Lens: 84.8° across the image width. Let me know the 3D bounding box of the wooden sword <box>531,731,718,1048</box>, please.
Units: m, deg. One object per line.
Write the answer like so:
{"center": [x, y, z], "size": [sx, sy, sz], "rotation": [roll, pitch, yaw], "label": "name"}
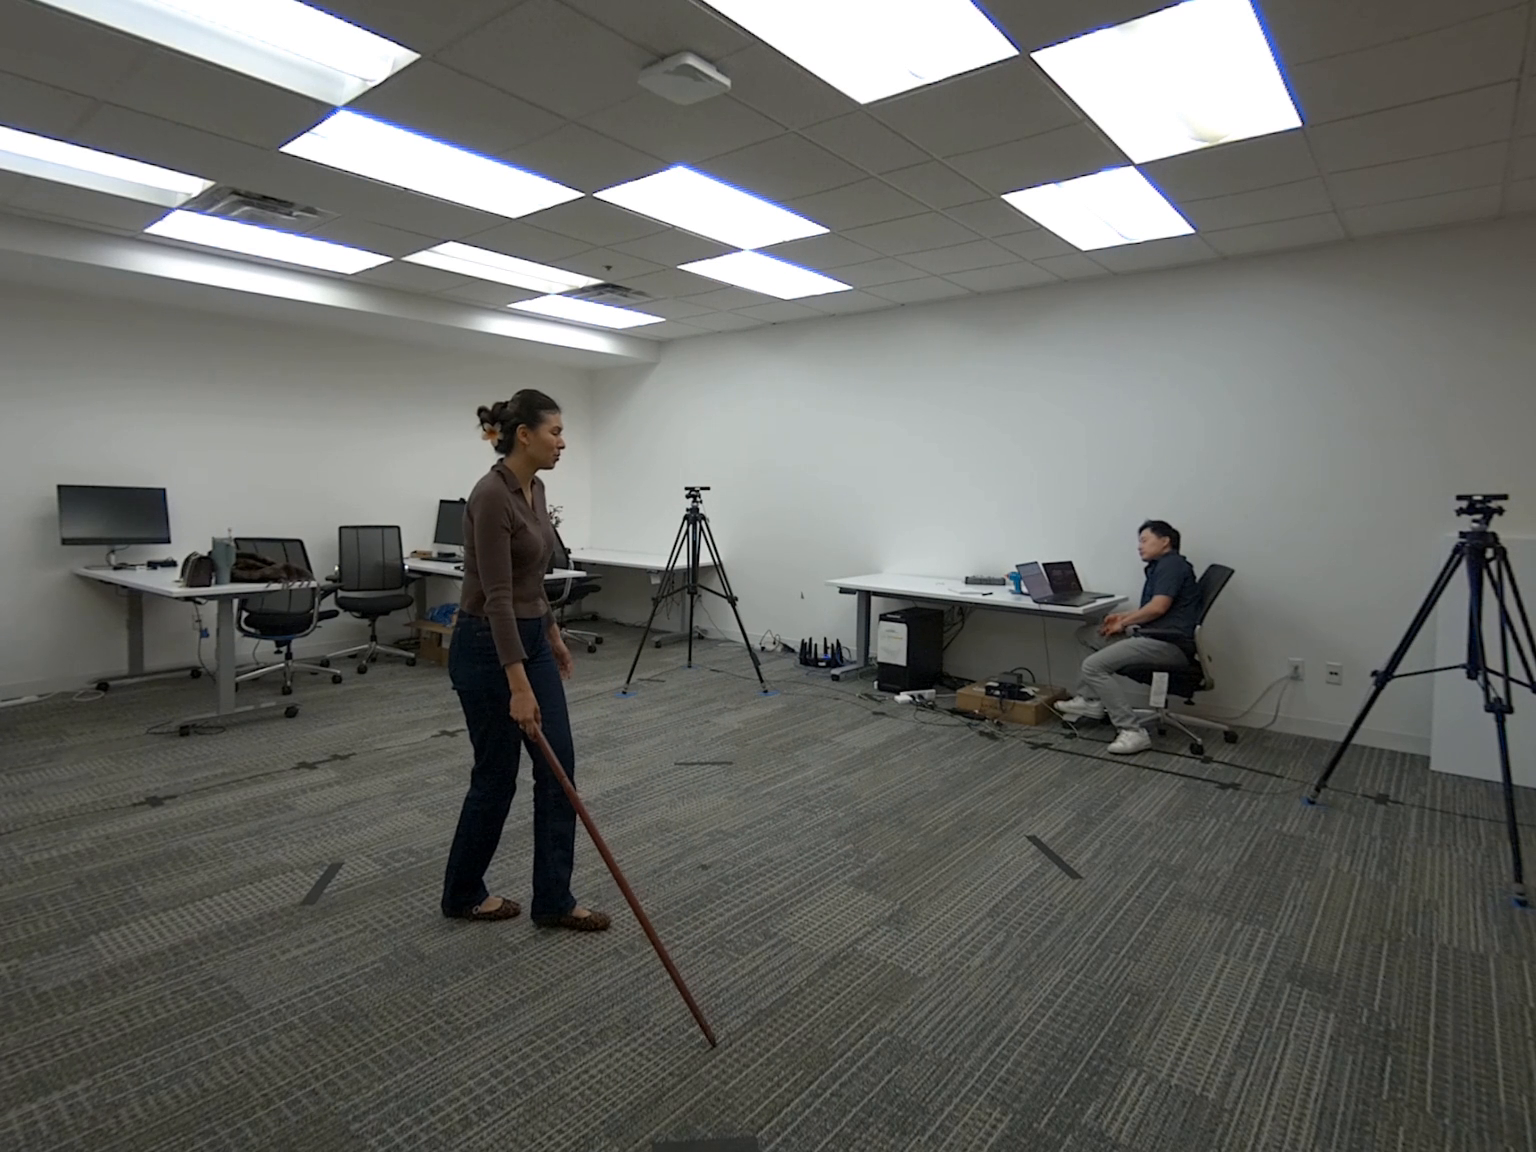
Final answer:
{"center": [-0.412, 0.756, 2.262], "size": [0.024, 1.049, 0.050], "rotation": [-33, -17, -13], "label": "wooden sword"}
